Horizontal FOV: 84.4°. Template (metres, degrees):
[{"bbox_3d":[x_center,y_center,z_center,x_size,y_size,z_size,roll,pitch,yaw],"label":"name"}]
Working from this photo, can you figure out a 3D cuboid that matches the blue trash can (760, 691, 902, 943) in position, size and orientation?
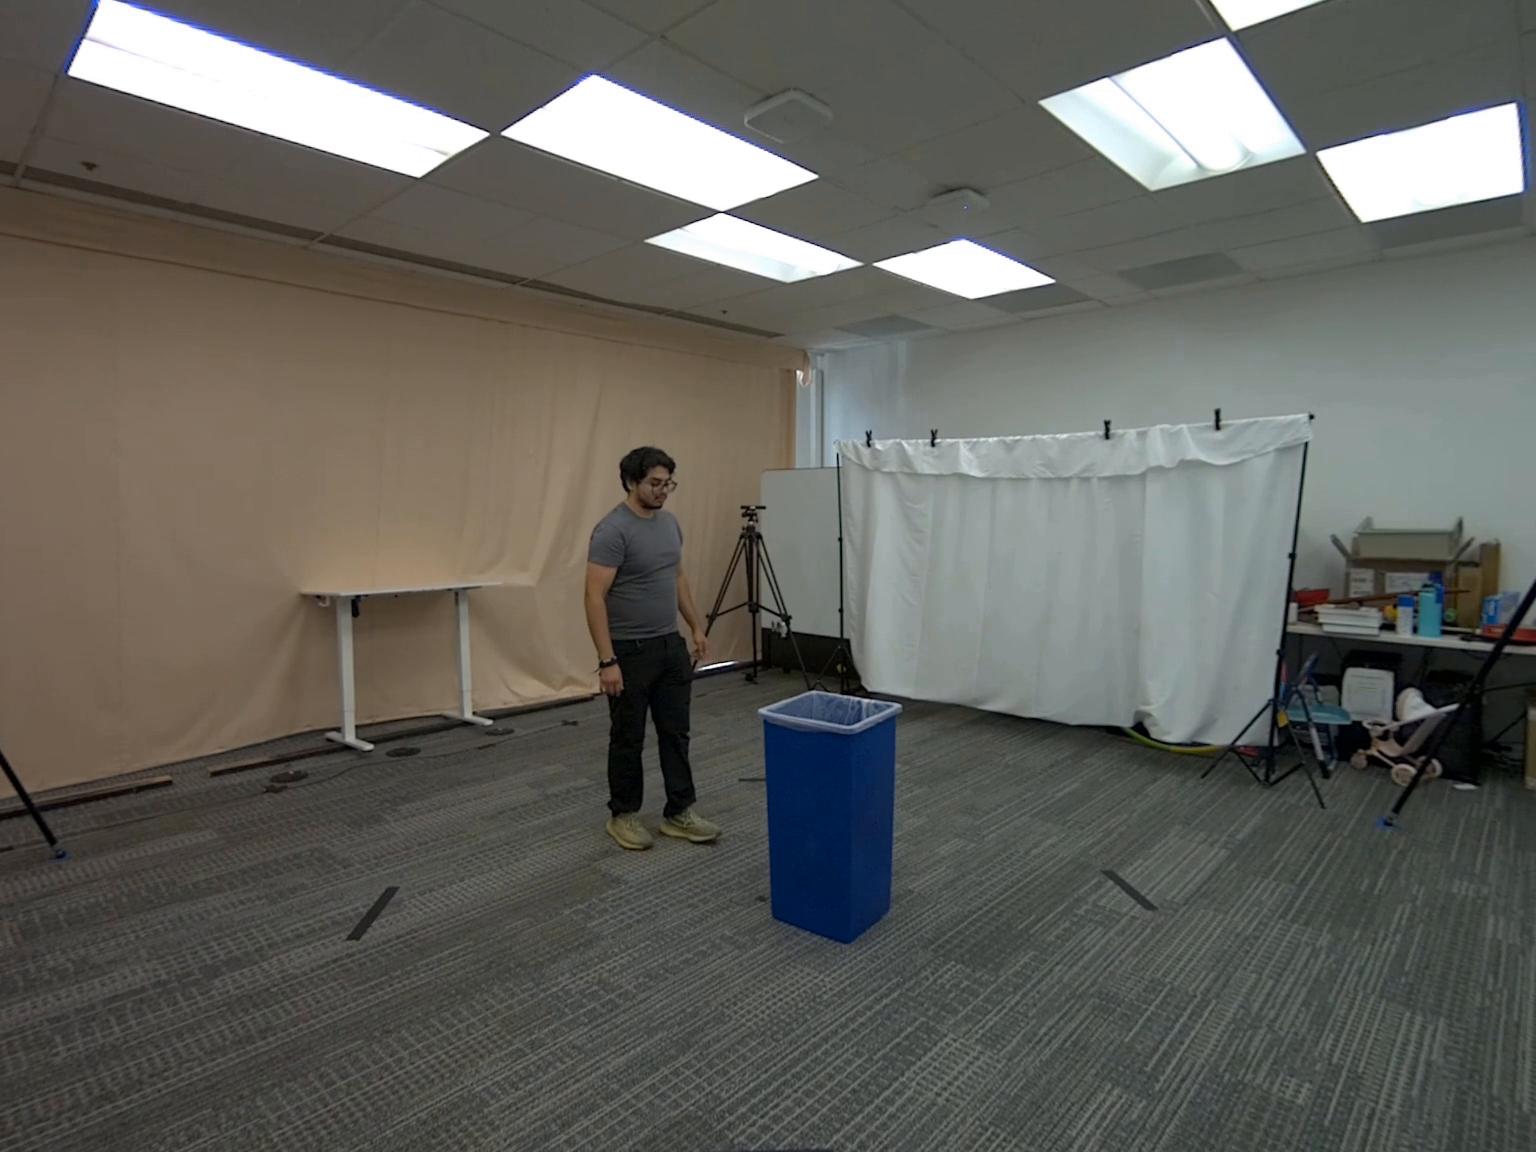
[{"bbox_3d":[0.216,0.796,2.845,0.390,0.712,0.363,2,4,37],"label":"blue trash can"}]
